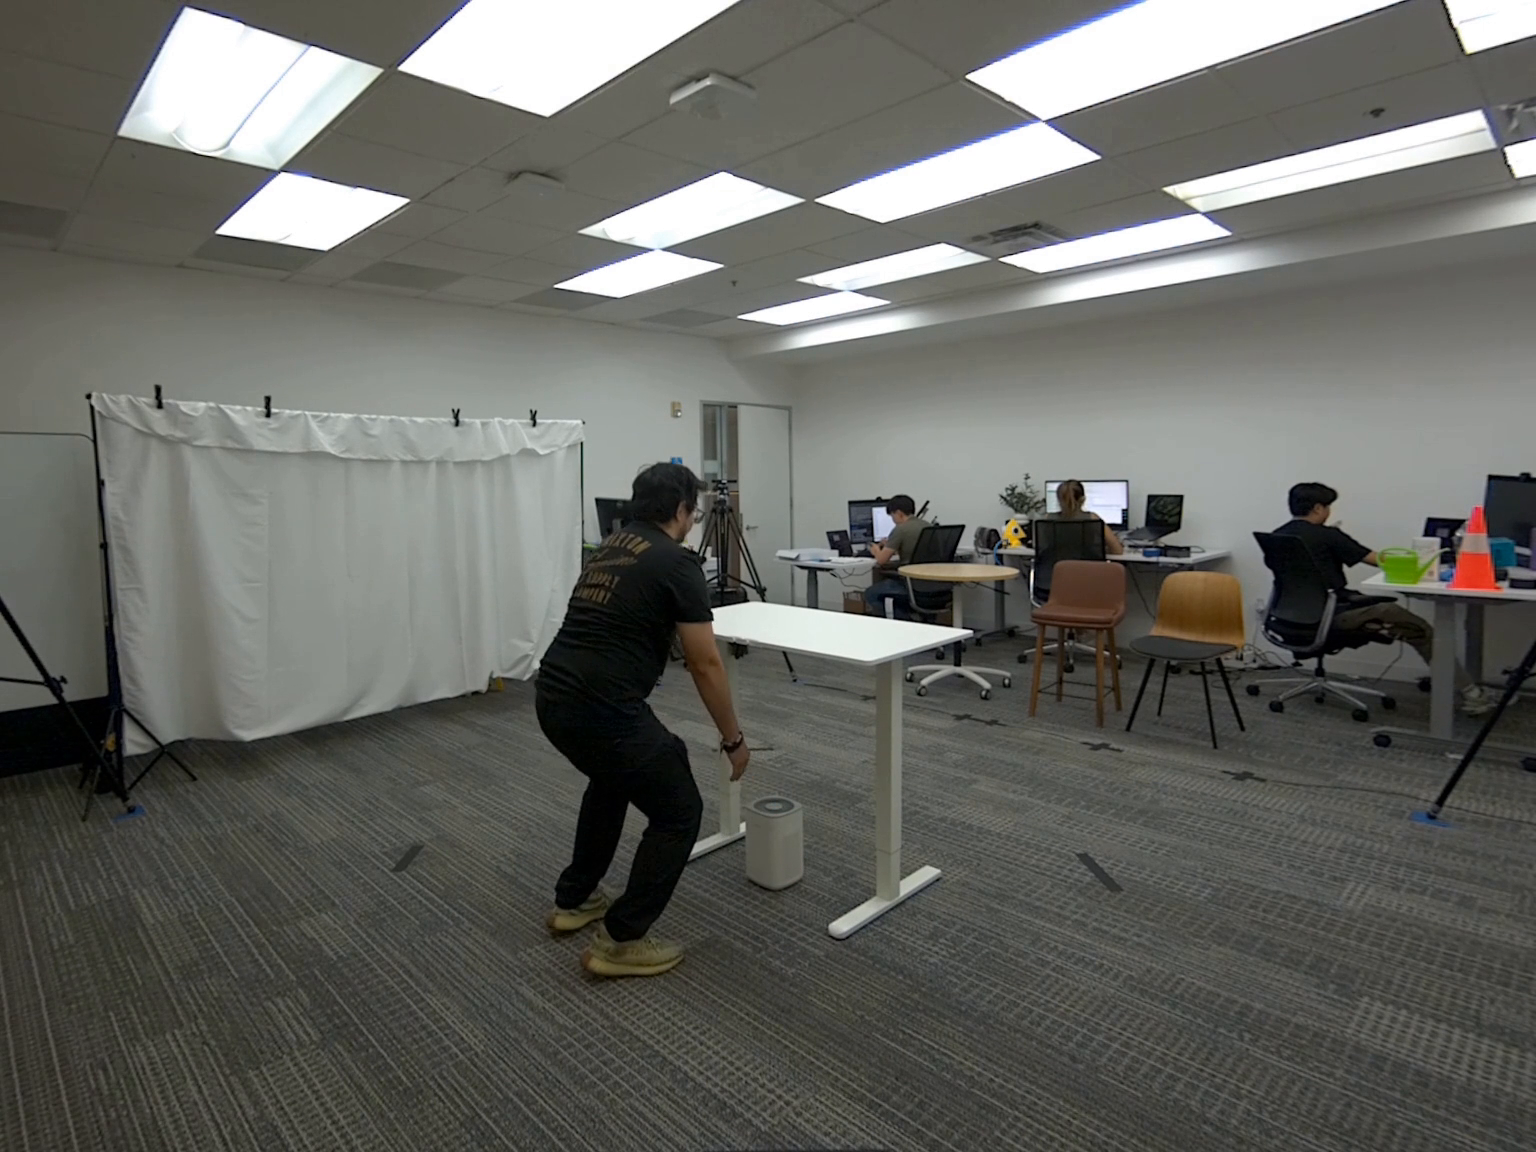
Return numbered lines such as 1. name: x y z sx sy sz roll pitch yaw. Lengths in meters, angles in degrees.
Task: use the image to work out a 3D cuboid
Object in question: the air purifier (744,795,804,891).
1. air purifier: 0.024 0.924 2.978 0.176 0.264 0.167 3 6 45
